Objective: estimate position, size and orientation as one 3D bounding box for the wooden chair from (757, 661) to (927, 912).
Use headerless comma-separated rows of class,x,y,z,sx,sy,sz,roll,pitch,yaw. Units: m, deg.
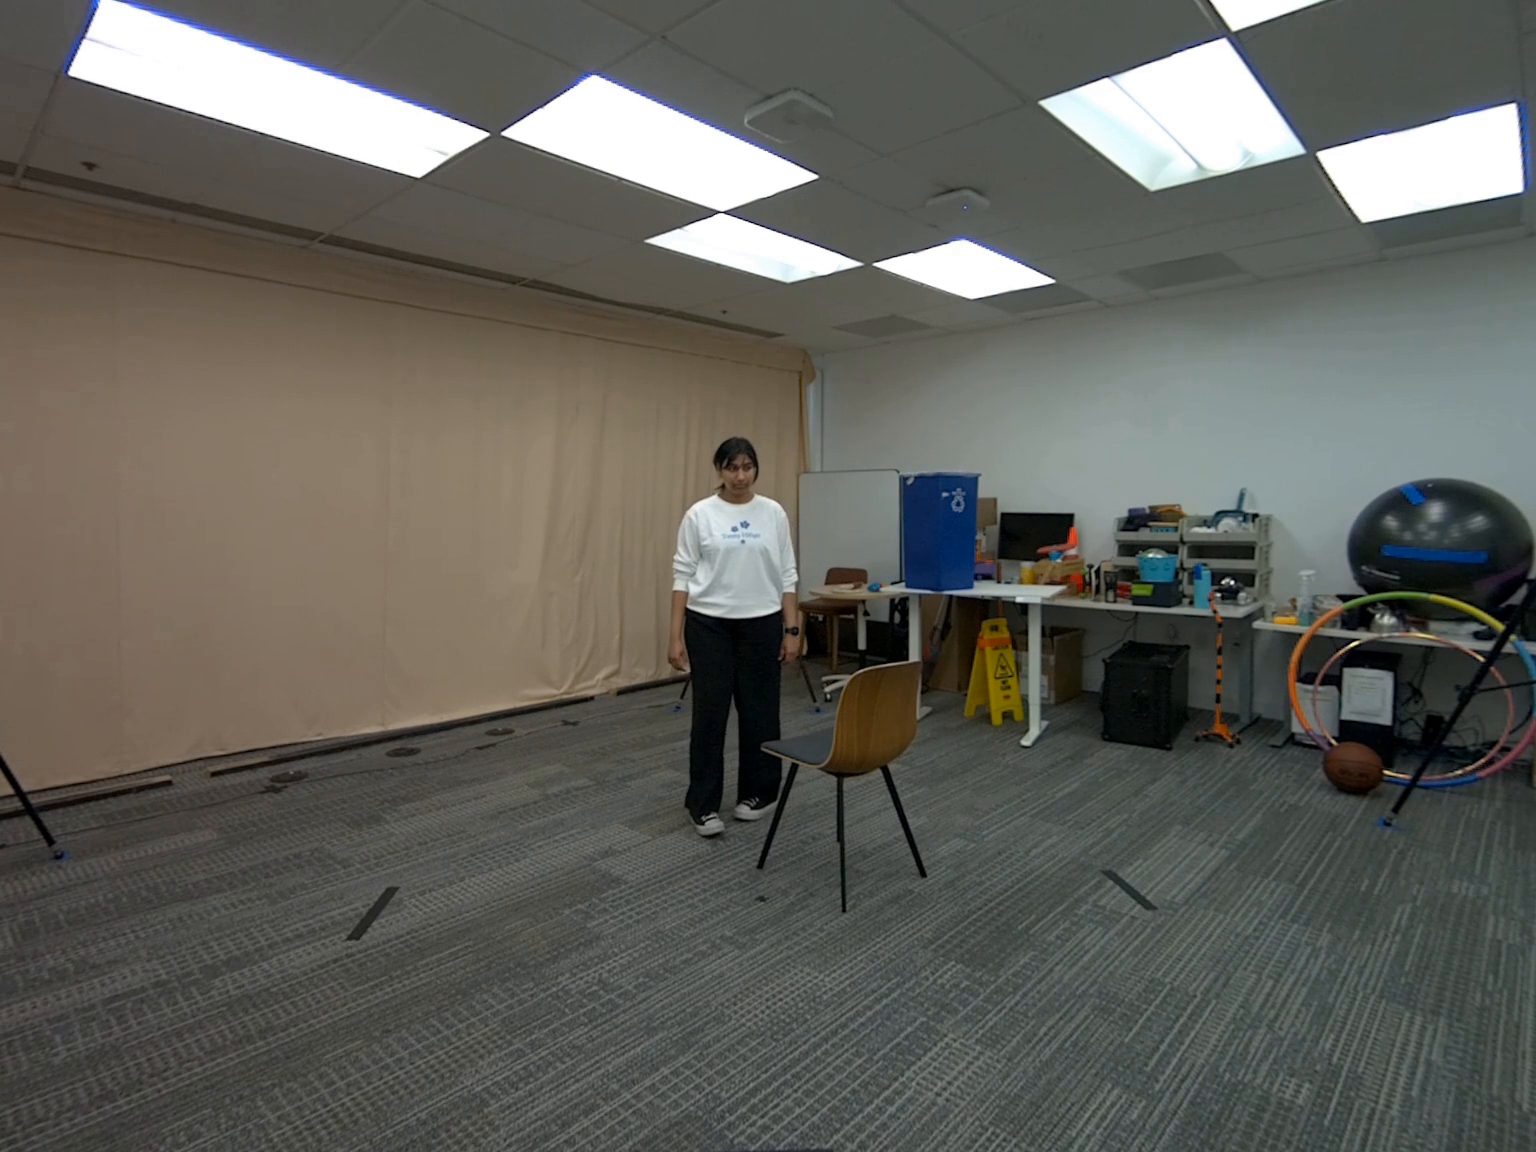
wooden chair,0.278,0.699,3.164,0.463,0.874,0.541,-3,8,-40
